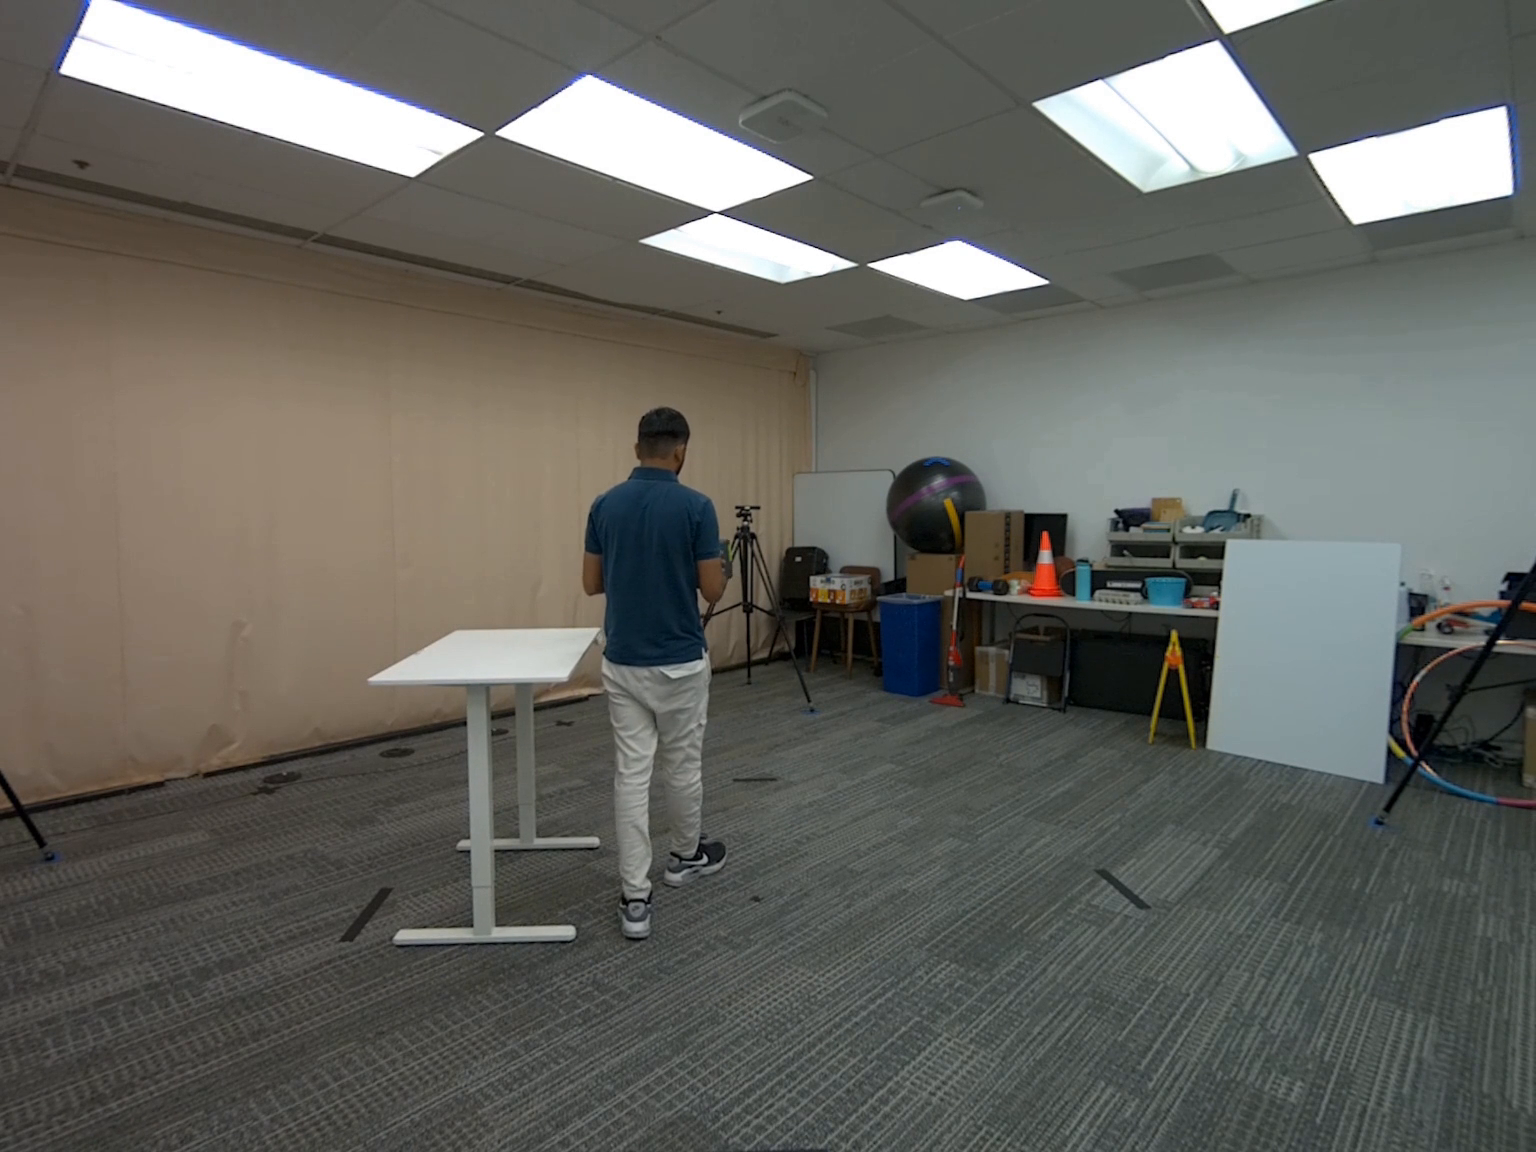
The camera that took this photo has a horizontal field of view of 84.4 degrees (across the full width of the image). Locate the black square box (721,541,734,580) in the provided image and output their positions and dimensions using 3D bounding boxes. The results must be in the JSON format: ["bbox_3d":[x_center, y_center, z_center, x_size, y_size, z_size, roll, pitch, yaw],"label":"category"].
[{"bbox_3d":[-0.281,-0.052,3.297,0.233,0.155,0.213,-1,10,23],"label":"black square box"}]
